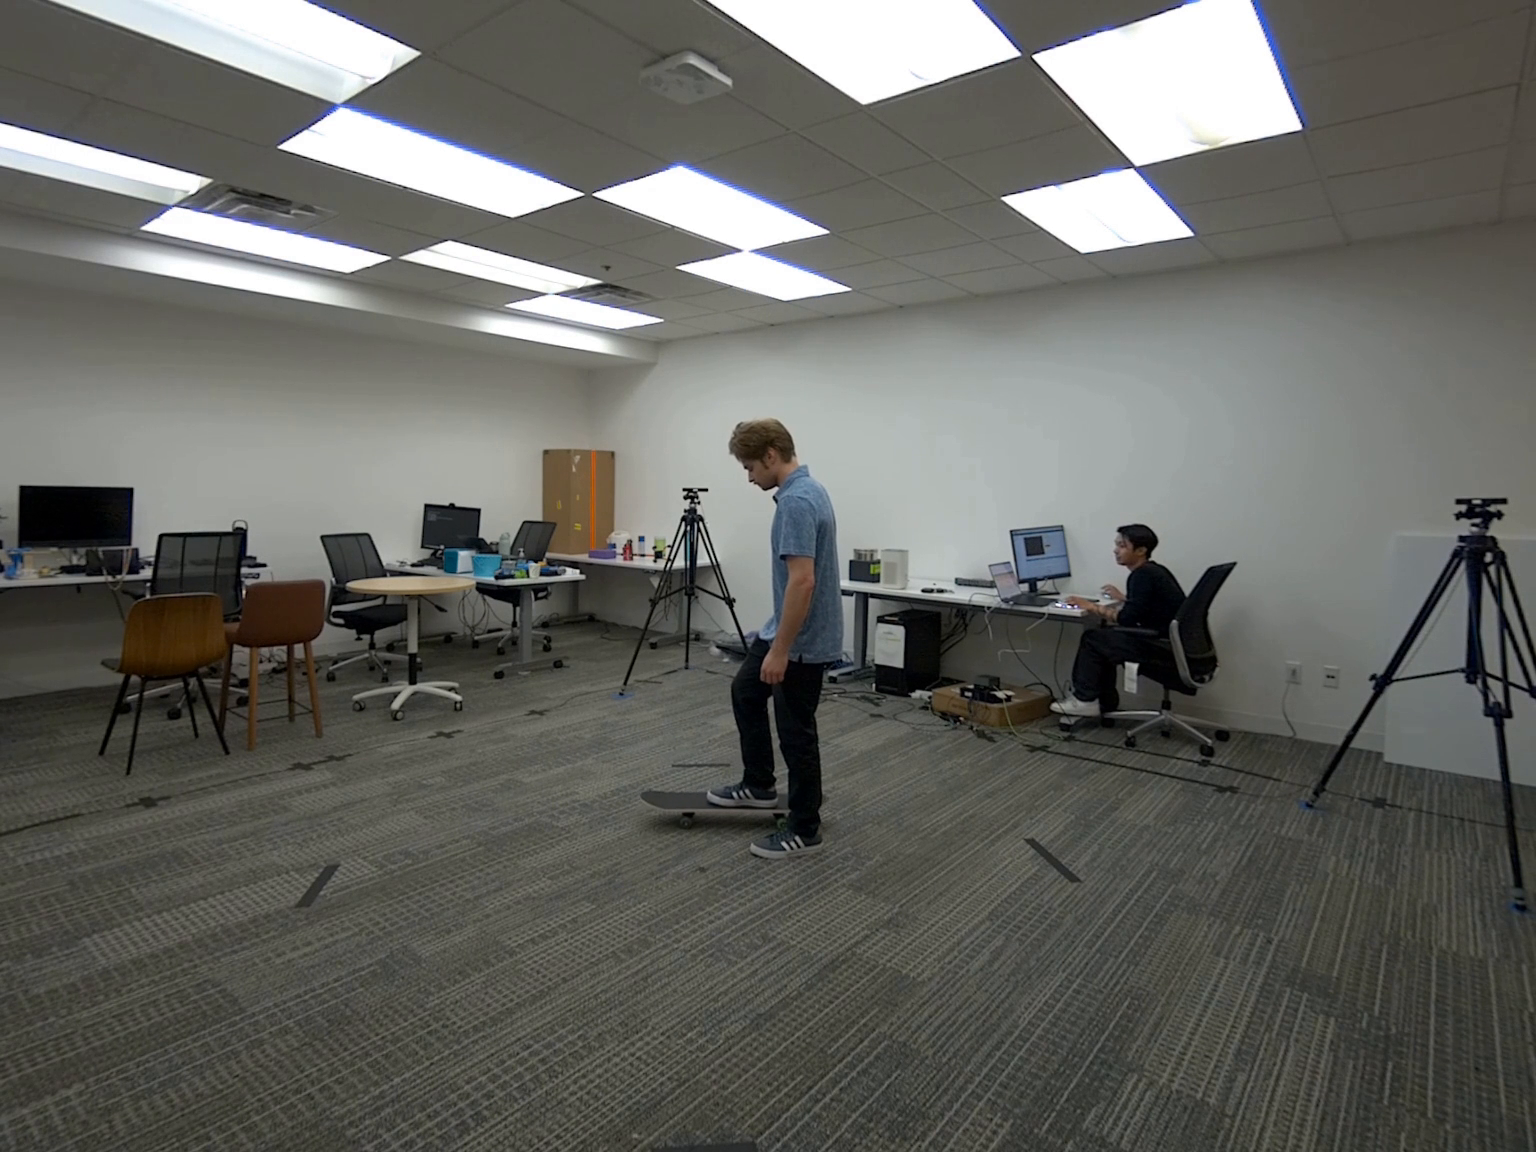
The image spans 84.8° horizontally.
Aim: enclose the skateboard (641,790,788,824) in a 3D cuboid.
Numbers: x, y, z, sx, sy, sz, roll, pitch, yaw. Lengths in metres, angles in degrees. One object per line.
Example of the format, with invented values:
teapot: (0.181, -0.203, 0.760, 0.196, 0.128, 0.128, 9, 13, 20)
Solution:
skateboard: (-0.162, 0.964, 3.555, 0.784, 0.110, 0.195, 1, 7, -2)
